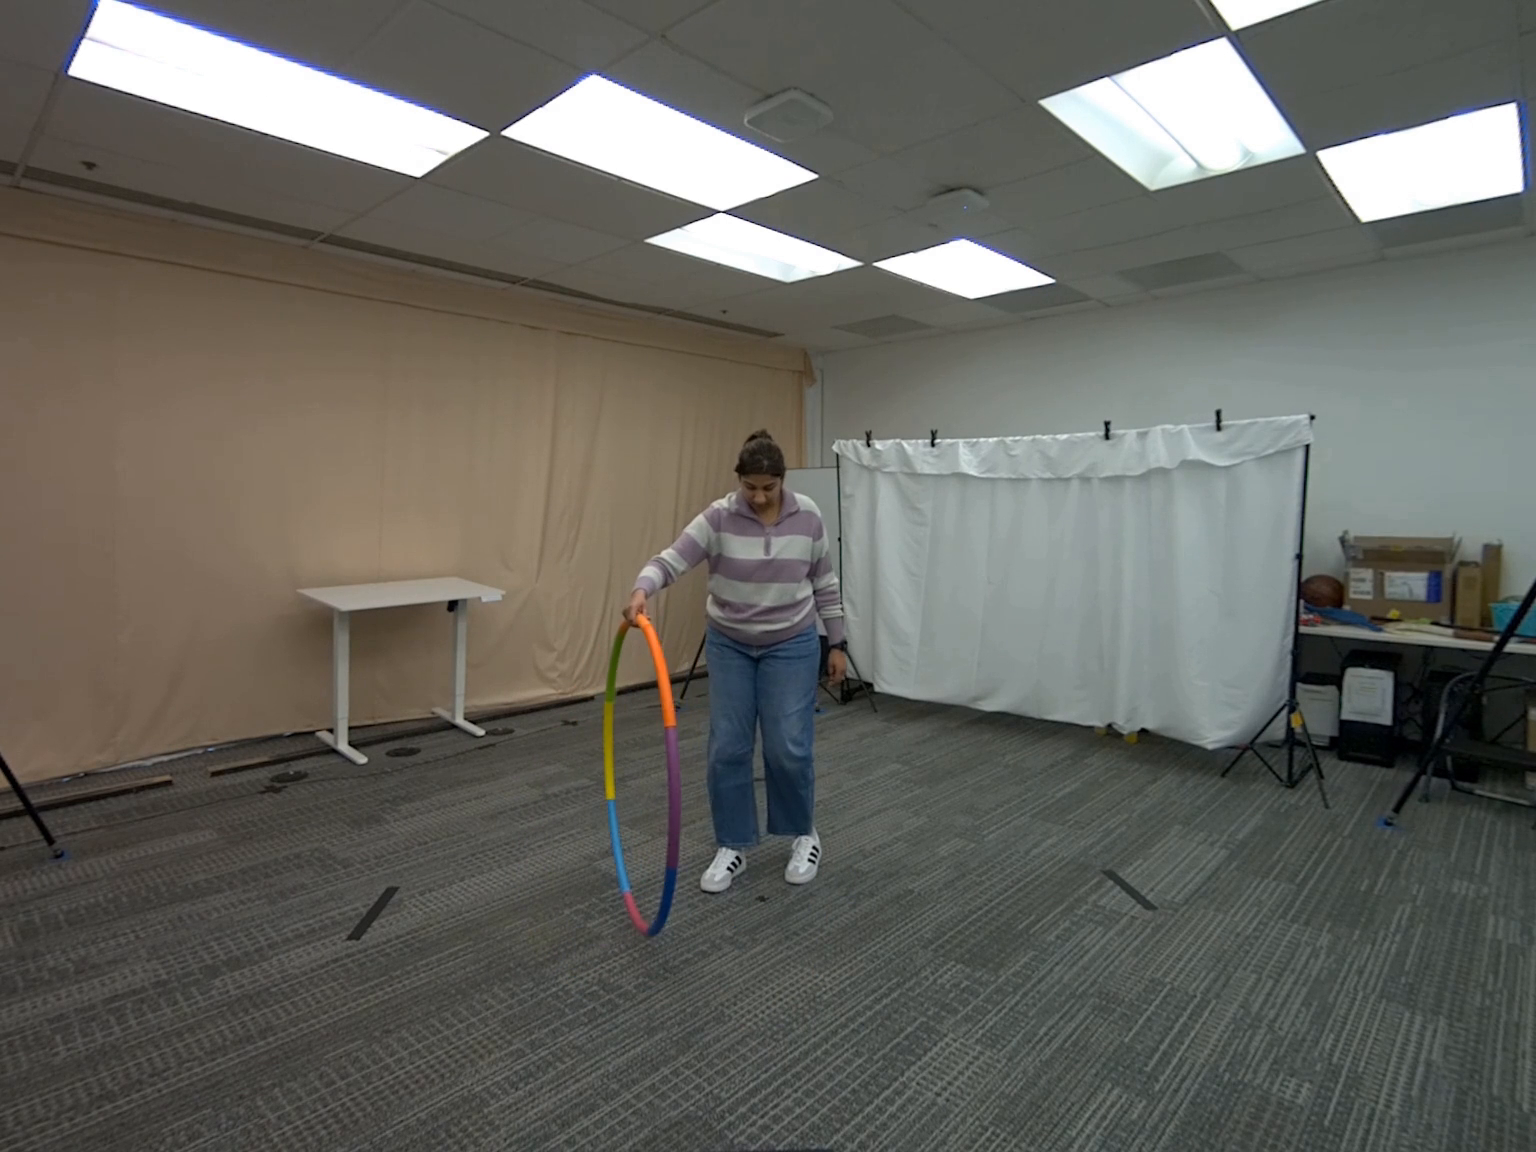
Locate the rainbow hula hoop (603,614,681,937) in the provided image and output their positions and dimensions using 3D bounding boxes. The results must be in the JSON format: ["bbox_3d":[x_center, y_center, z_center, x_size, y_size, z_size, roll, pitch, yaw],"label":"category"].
[{"bbox_3d":[-0.414,0.613,2.704,0.035,0.977,0.999,1,3,-20],"label":"rainbow hula hoop"}]
